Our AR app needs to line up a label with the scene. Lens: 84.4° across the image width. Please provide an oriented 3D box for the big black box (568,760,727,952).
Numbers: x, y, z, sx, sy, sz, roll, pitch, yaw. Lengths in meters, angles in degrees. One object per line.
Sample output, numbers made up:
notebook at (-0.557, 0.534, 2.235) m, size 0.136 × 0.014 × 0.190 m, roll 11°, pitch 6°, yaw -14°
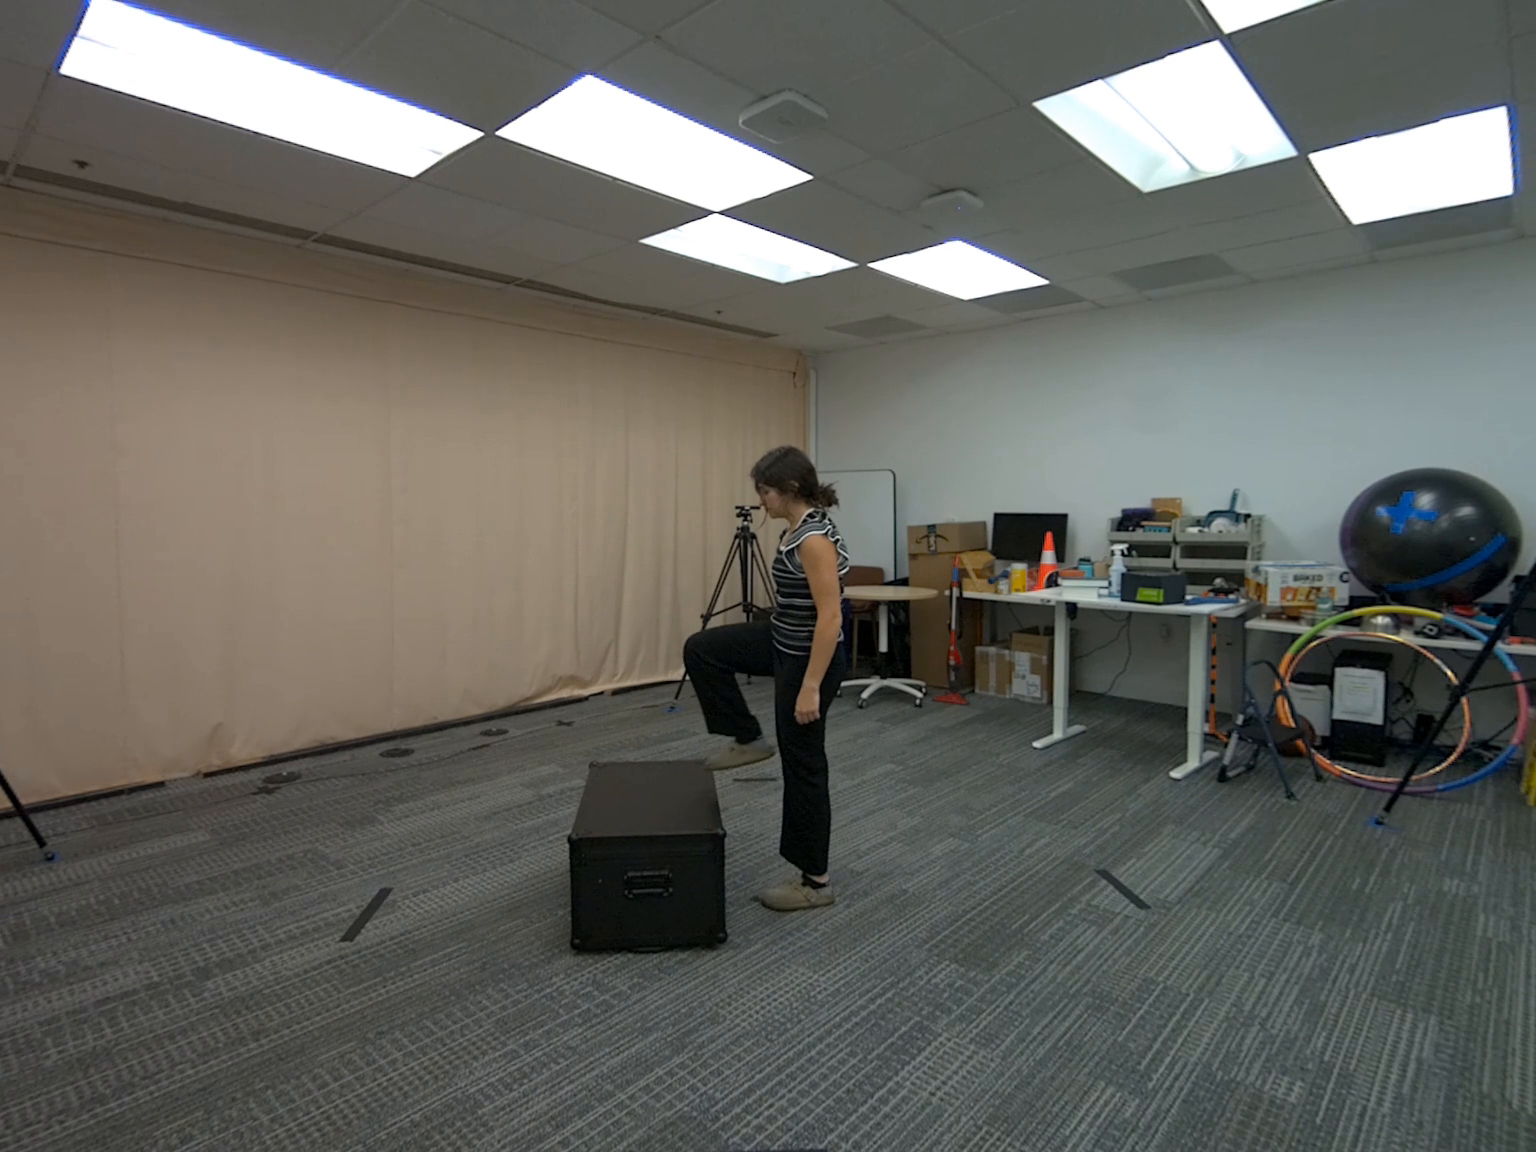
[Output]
big black box at (-0.418, 0.949, 3.027) m, size 0.518 × 0.395 × 0.869 m, roll -1°, pitch 4°, yaw -7°
